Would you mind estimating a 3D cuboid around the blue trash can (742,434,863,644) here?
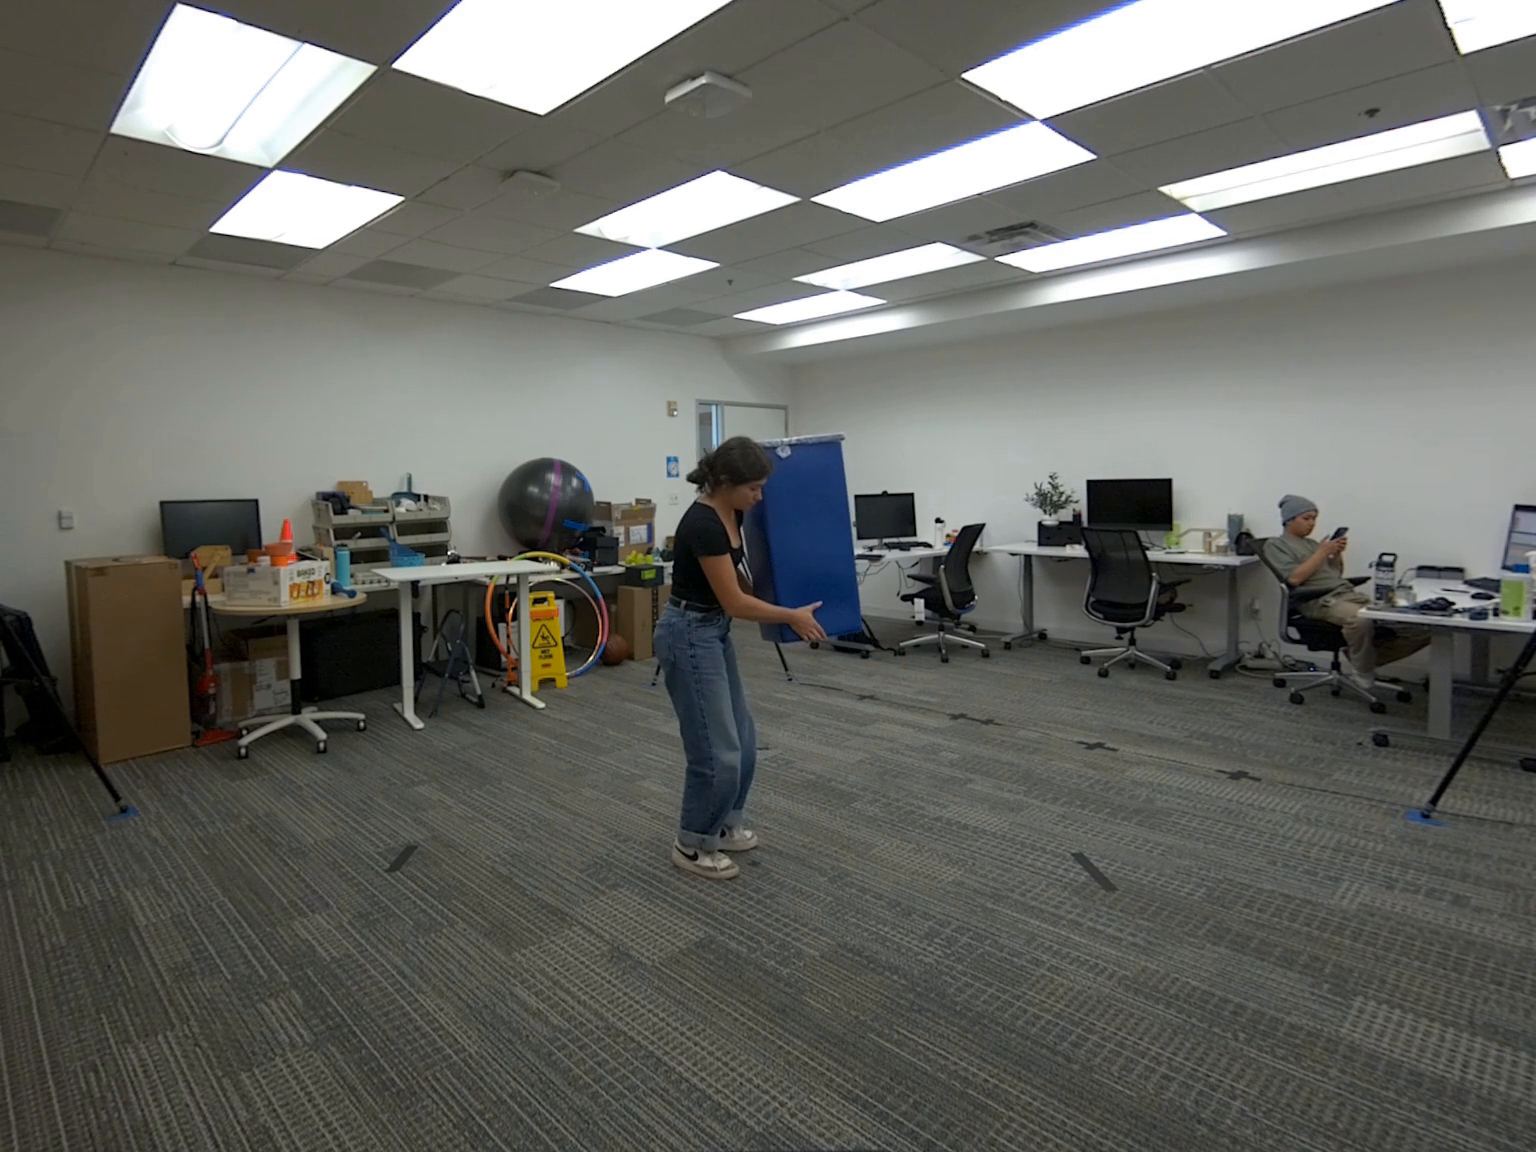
[{"bbox_3d":[0.108,-0.133,3.184,0.373,0.715,0.378,-7,-2,-15],"label":"blue trash can"}]
